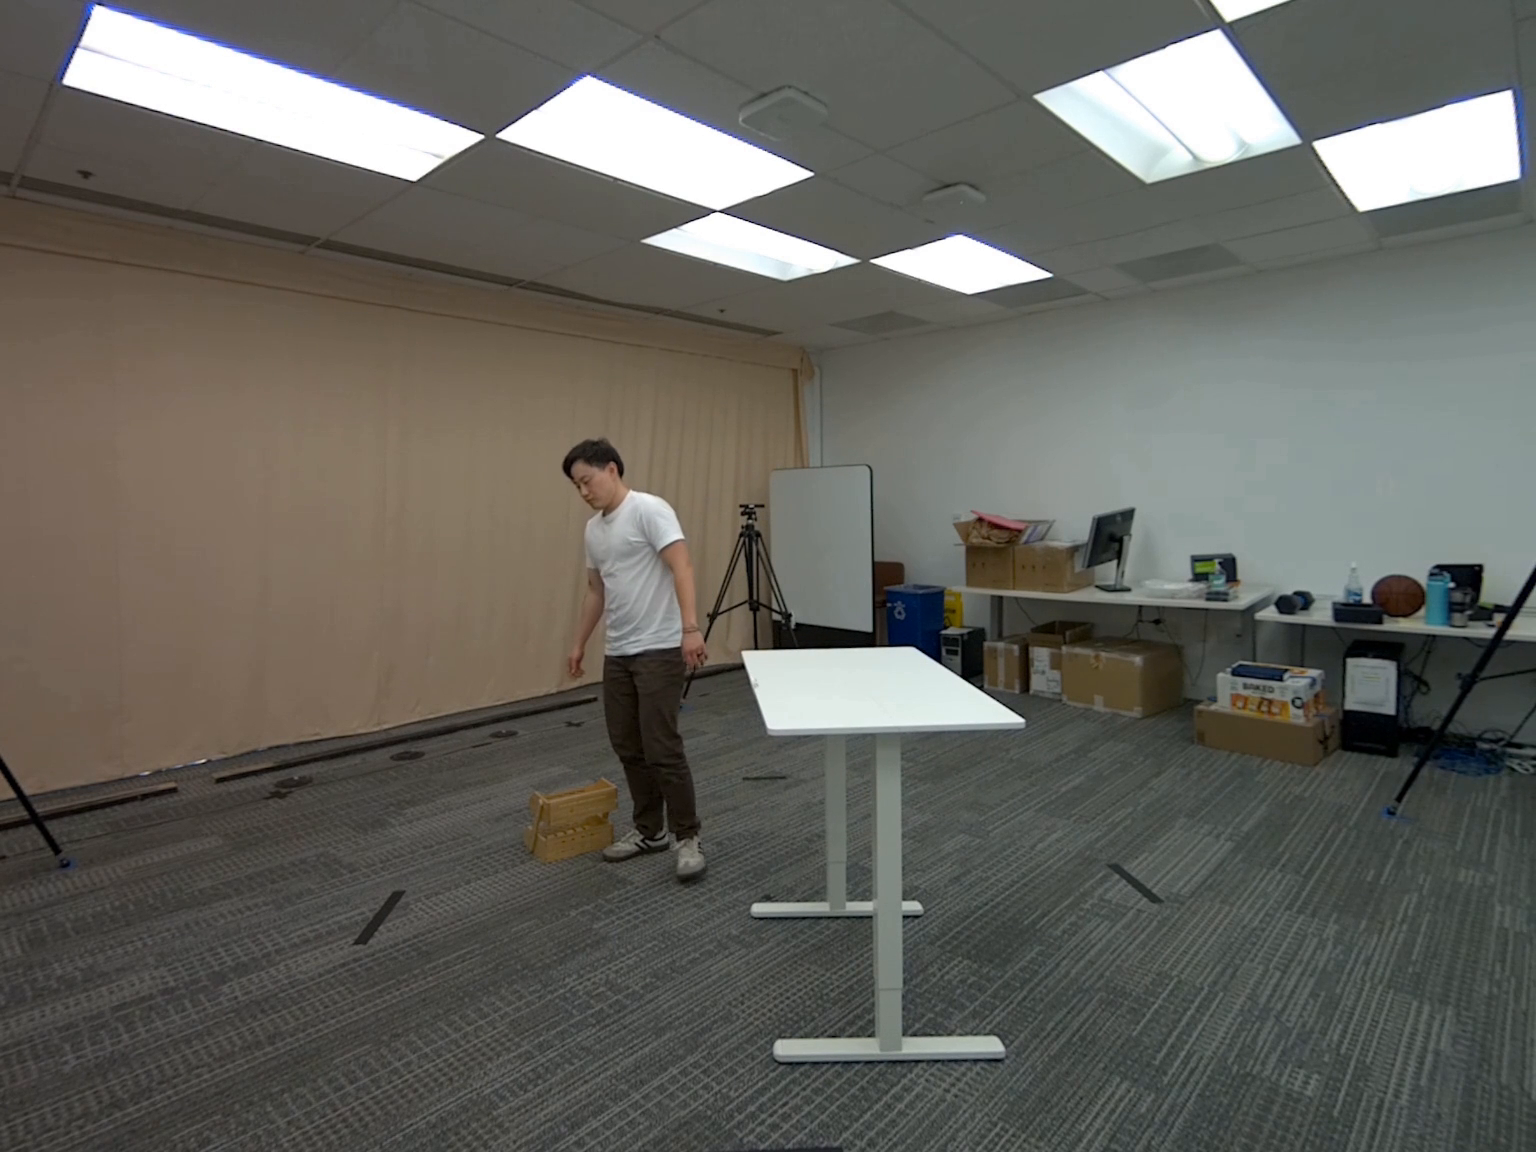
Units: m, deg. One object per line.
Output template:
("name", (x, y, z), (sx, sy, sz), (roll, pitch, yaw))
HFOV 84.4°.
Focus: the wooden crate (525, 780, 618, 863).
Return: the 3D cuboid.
("wooden crate", (-0.823, 0.988, 3.482), (0.315, 0.272, 0.311), (-4, 6, -34))
